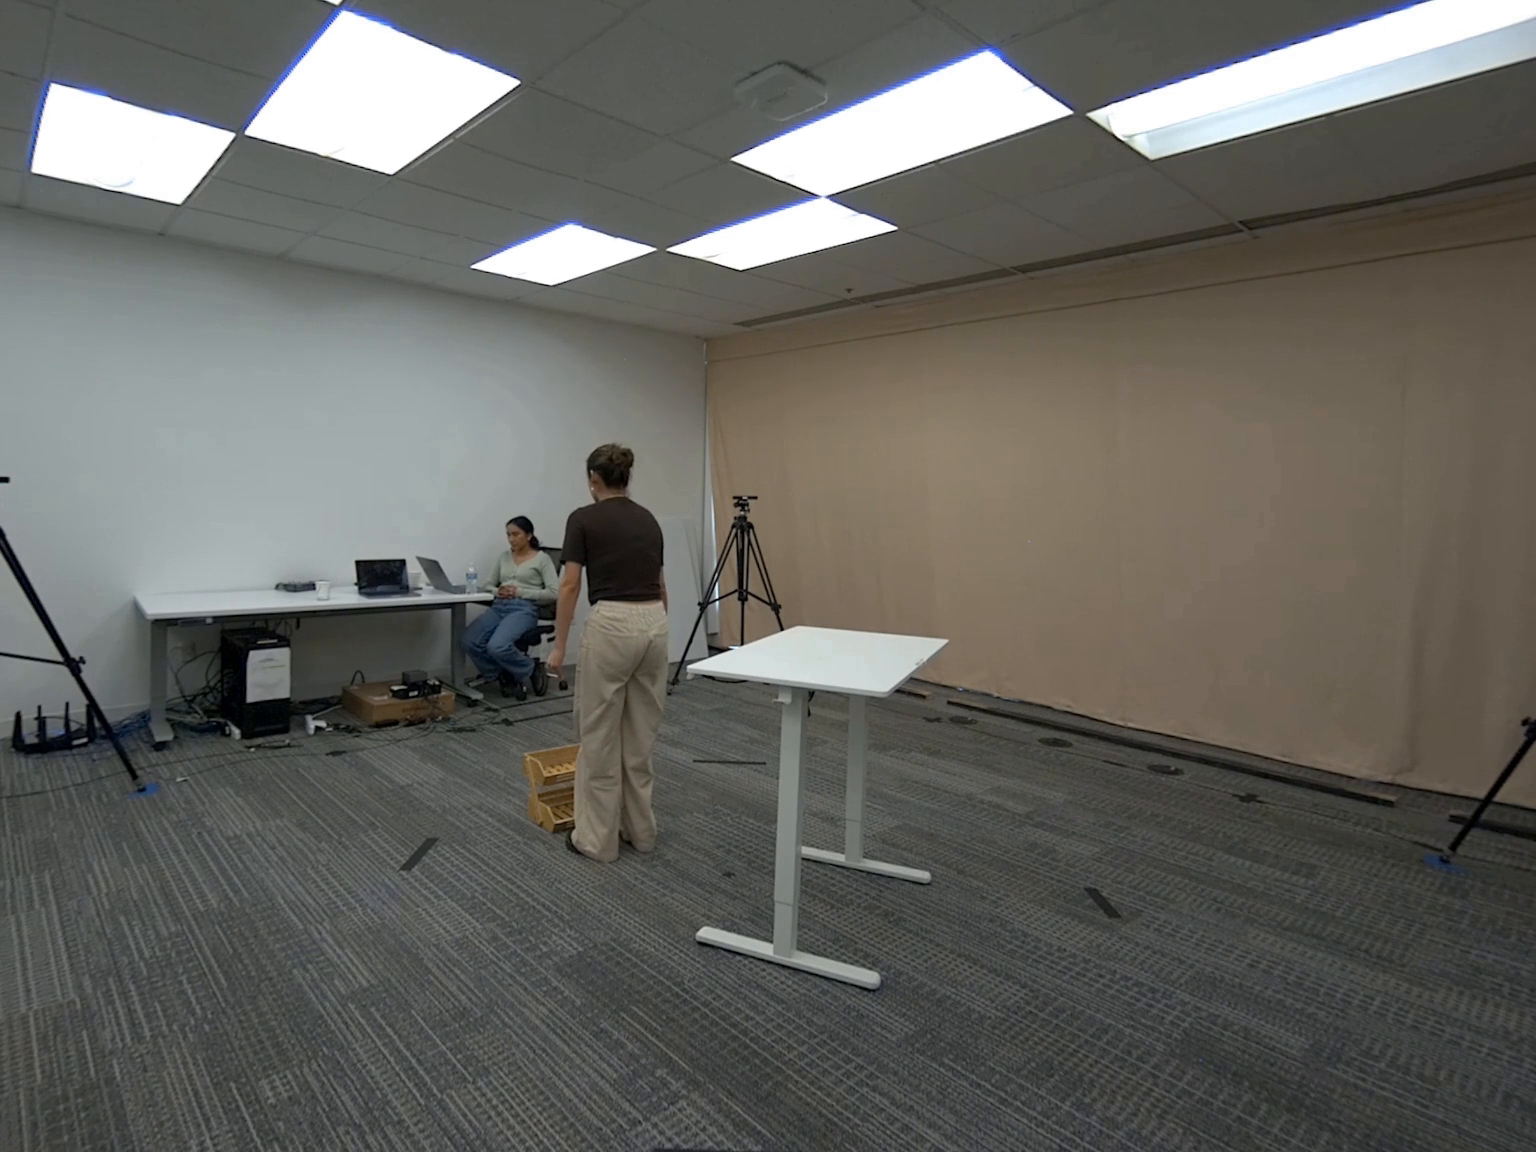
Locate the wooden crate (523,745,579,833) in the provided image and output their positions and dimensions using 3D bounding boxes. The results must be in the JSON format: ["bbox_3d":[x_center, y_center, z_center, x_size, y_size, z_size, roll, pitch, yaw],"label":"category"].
[{"bbox_3d":[-0.863,0.903,3.638,0.317,0.272,0.309,-3,5,-39],"label":"wooden crate"}]
